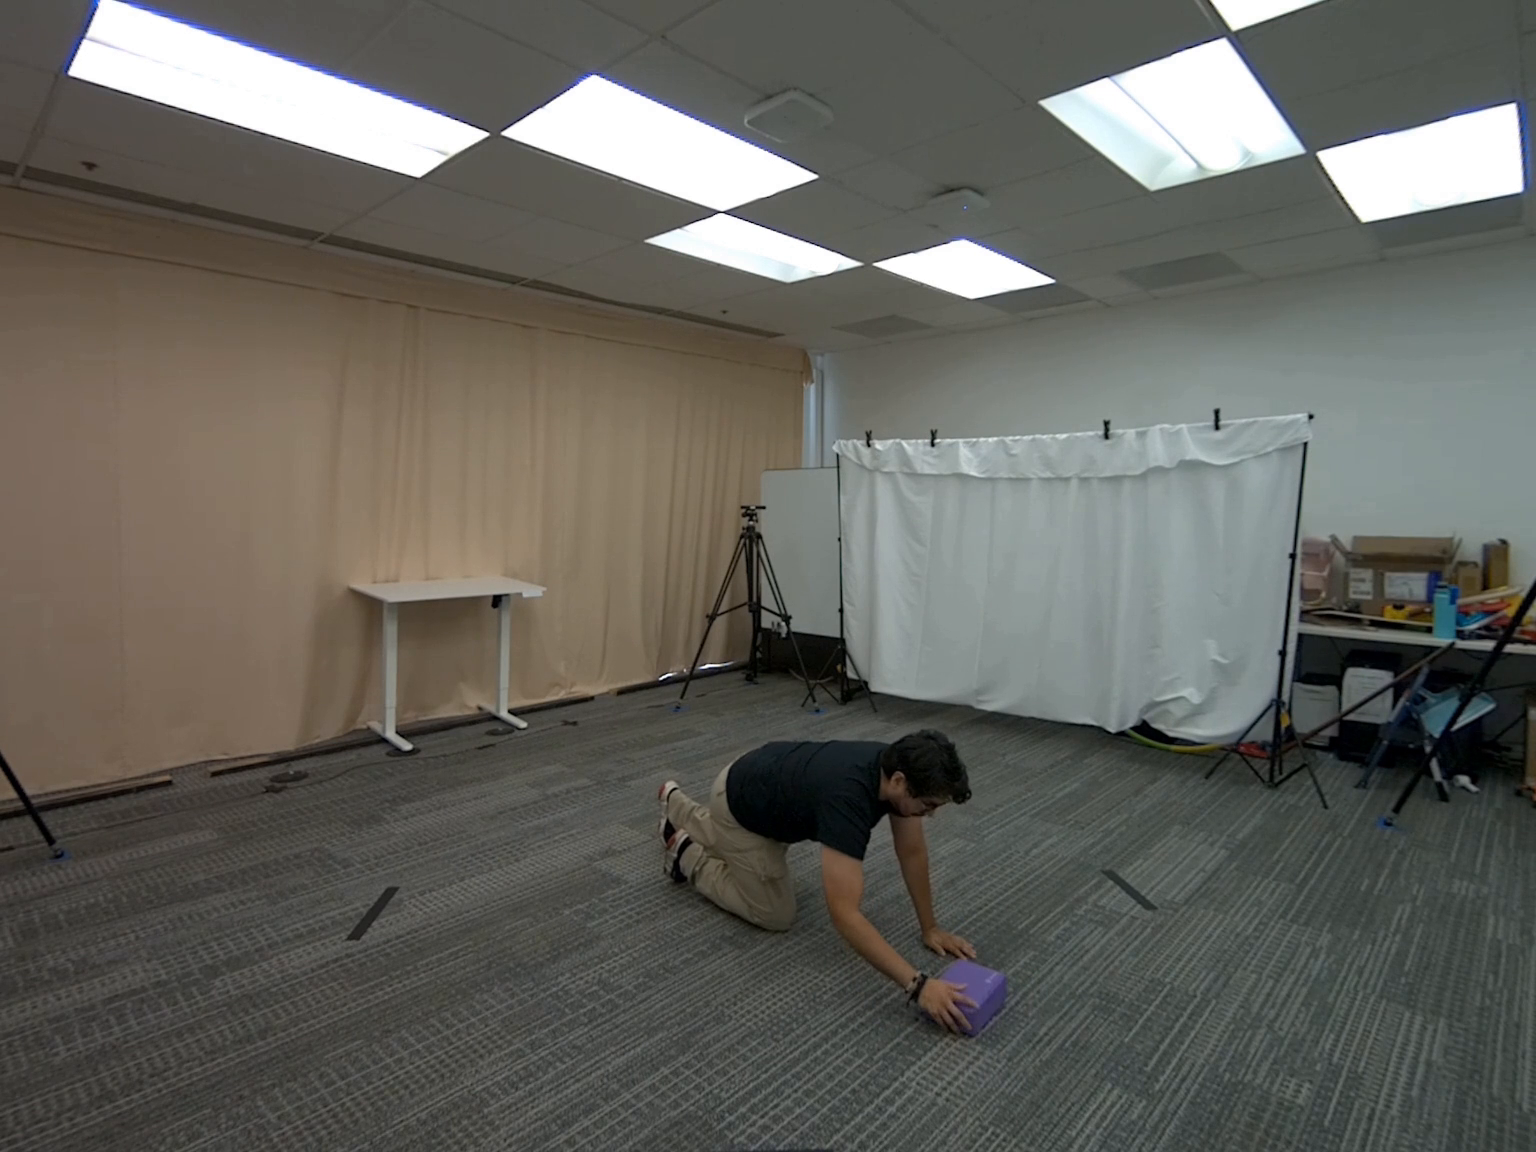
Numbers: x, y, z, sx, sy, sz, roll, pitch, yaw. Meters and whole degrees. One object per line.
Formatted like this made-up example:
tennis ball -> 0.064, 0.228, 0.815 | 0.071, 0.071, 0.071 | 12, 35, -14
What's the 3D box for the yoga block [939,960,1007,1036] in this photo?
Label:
yoga block -> 0.549, 1.156, 2.324 | 0.154, 0.076, 0.223 | 4, 7, 37
